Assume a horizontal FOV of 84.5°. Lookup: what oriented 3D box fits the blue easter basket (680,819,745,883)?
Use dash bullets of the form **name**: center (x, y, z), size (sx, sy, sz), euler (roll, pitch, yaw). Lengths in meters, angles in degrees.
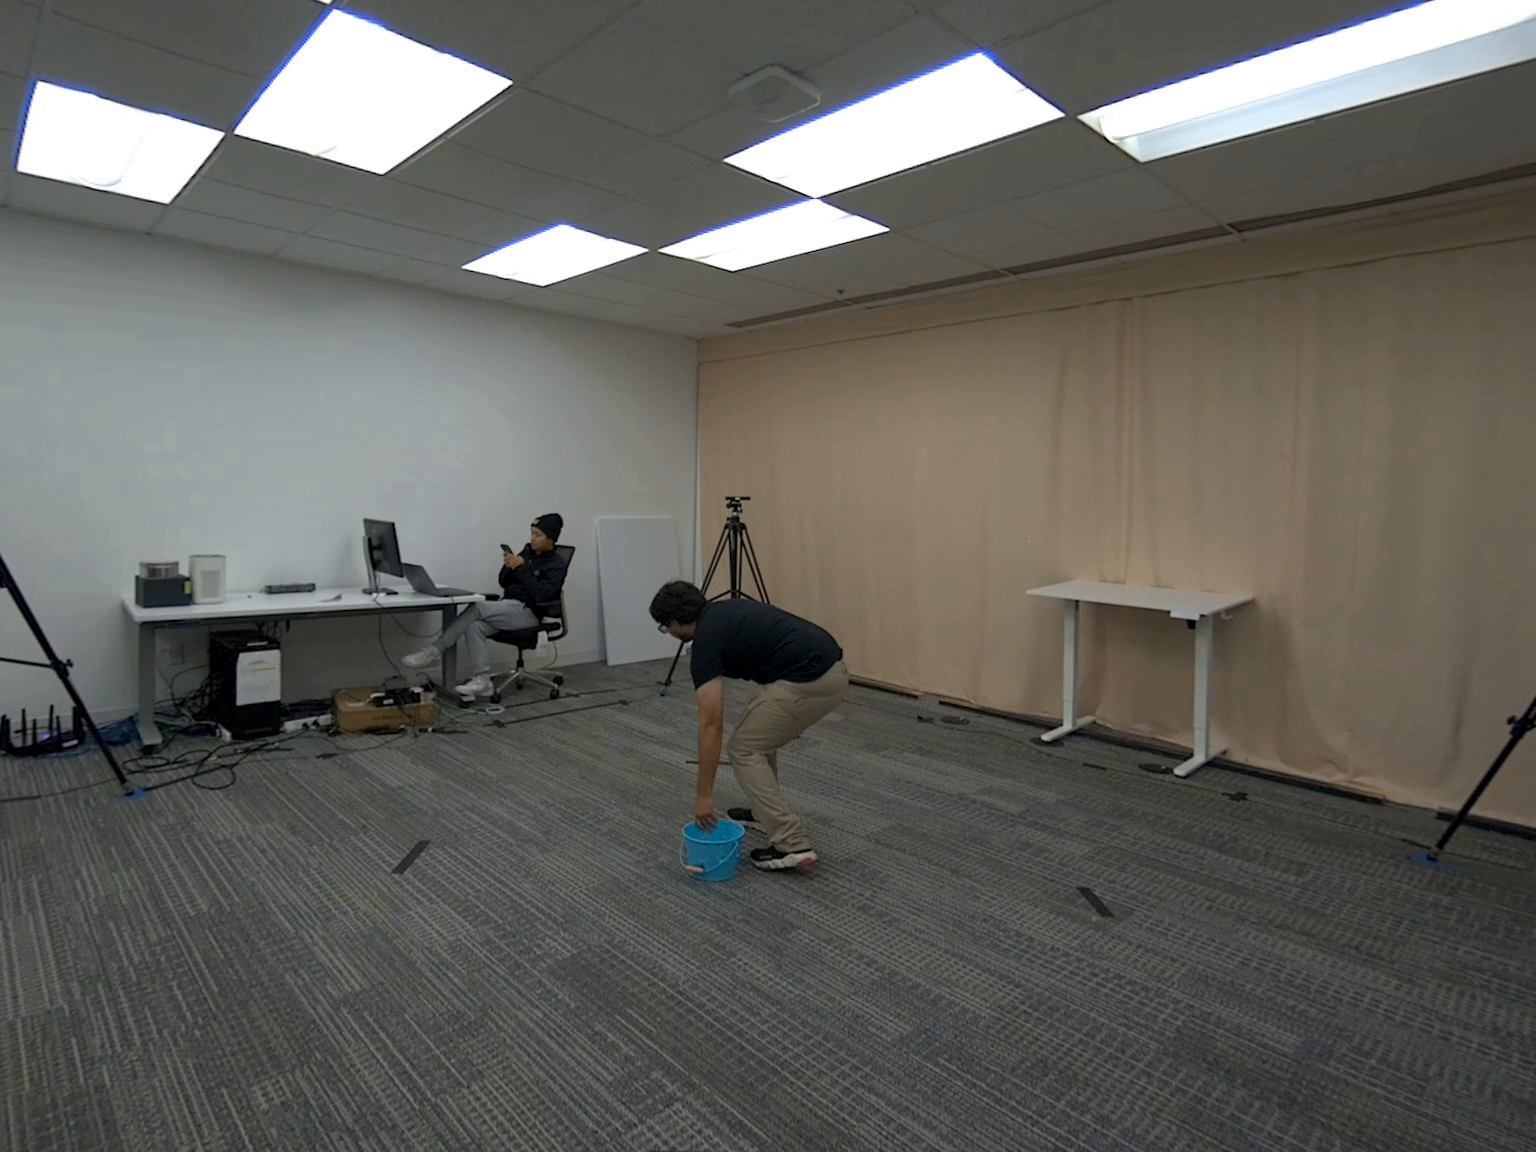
- **blue easter basket**: center (-0.218, 1.024, 3.144), size (0.243, 0.155, 0.244), euler (1, 4, -1)
